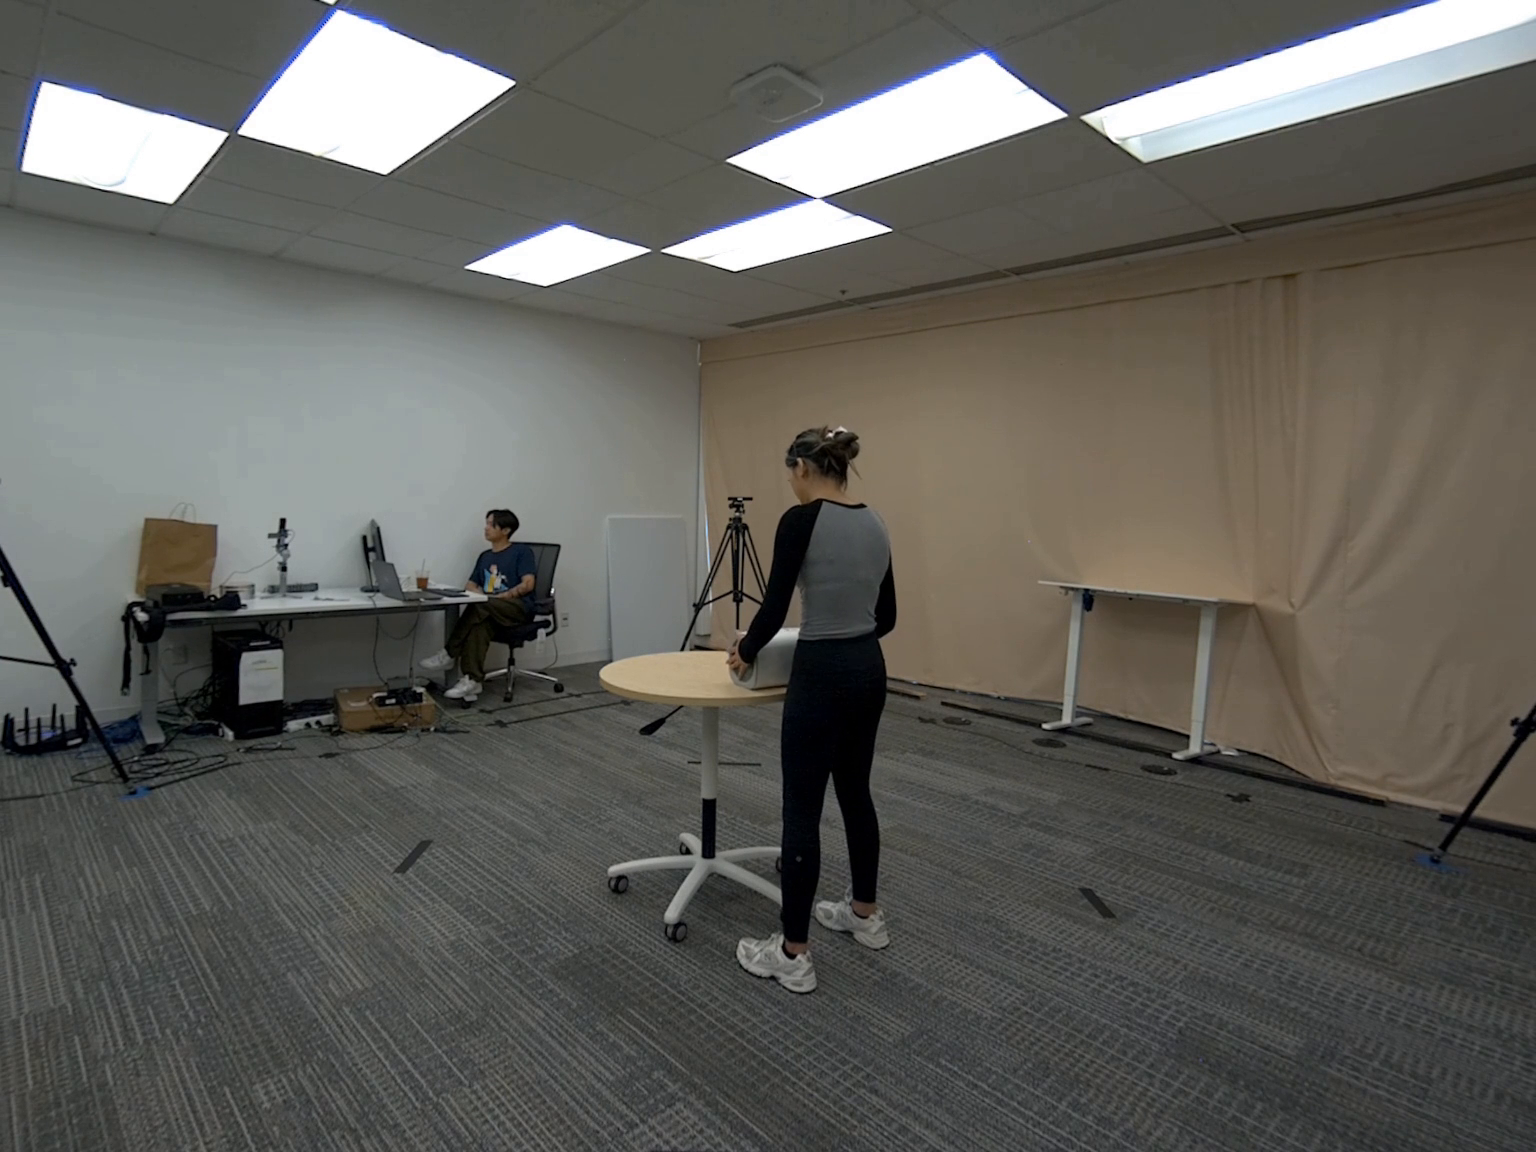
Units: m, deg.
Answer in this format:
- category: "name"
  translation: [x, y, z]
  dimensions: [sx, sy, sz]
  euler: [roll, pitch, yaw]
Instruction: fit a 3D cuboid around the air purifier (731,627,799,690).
- category: "air purifier"
  translation: [0.027, 0.263, 2.736]
  dimensions: [0.260, 0.171, 0.175]
  euler: [-2, 6, -31]
